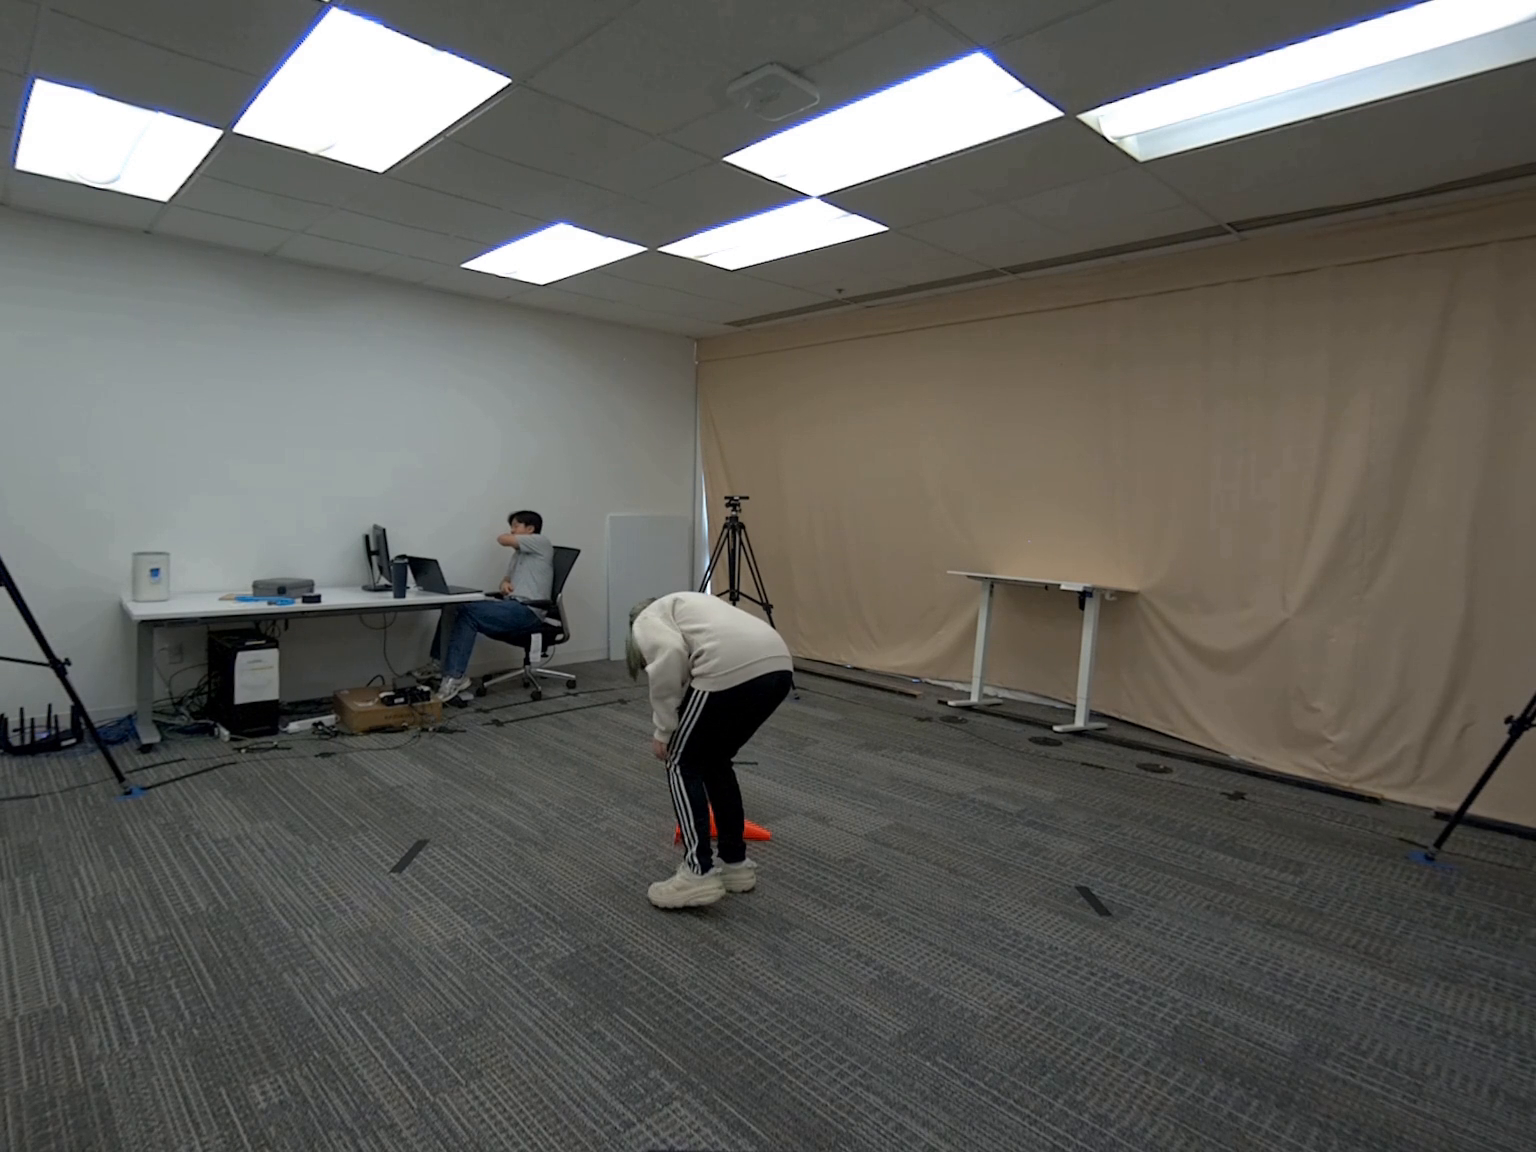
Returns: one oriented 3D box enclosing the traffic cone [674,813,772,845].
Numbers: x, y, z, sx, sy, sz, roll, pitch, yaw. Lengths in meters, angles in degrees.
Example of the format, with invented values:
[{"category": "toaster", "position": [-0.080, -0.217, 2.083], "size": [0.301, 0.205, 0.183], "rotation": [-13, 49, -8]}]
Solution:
[{"category": "traffic cone", "position": [-0.181, 1.023, 3.453], "size": [0.383, 0.203, 0.205], "rotation": [13, 4, -2]}]
